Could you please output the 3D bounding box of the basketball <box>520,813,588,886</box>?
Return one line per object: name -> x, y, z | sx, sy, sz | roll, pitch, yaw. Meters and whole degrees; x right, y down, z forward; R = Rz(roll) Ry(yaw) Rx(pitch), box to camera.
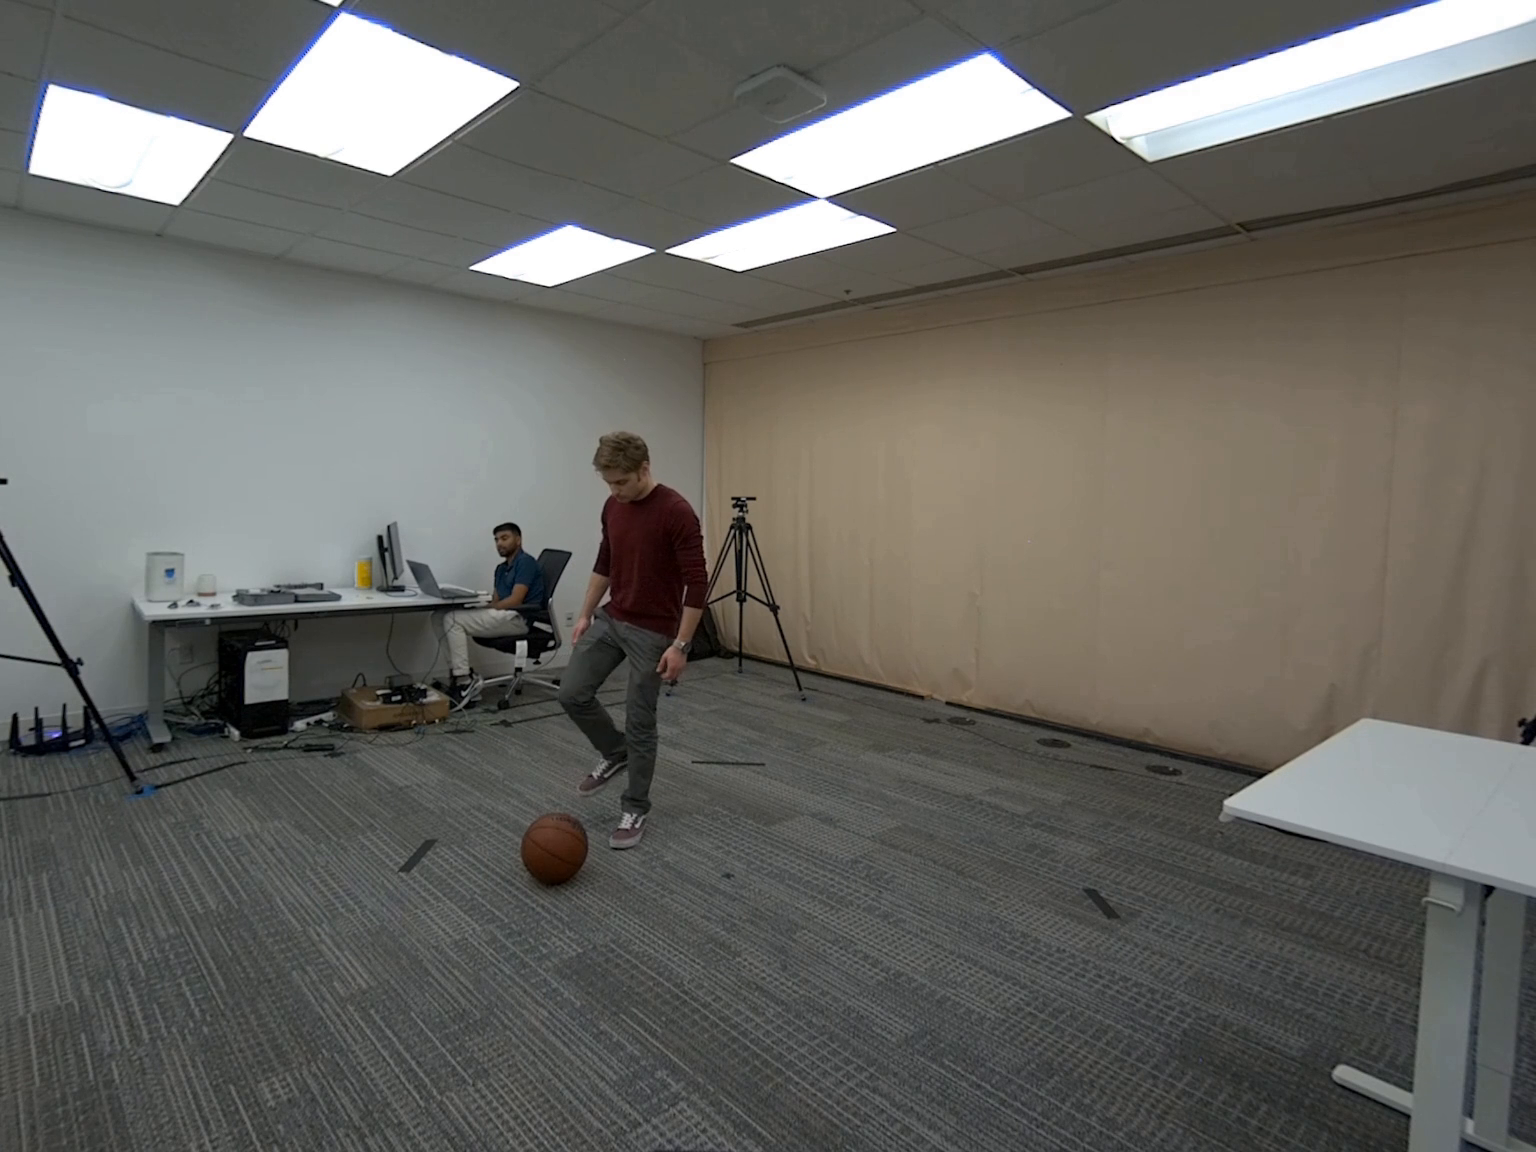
basketball -> -0.782, 0.981, 3.032 | 0.236, 0.235, 0.237 | 1, 4, -1
